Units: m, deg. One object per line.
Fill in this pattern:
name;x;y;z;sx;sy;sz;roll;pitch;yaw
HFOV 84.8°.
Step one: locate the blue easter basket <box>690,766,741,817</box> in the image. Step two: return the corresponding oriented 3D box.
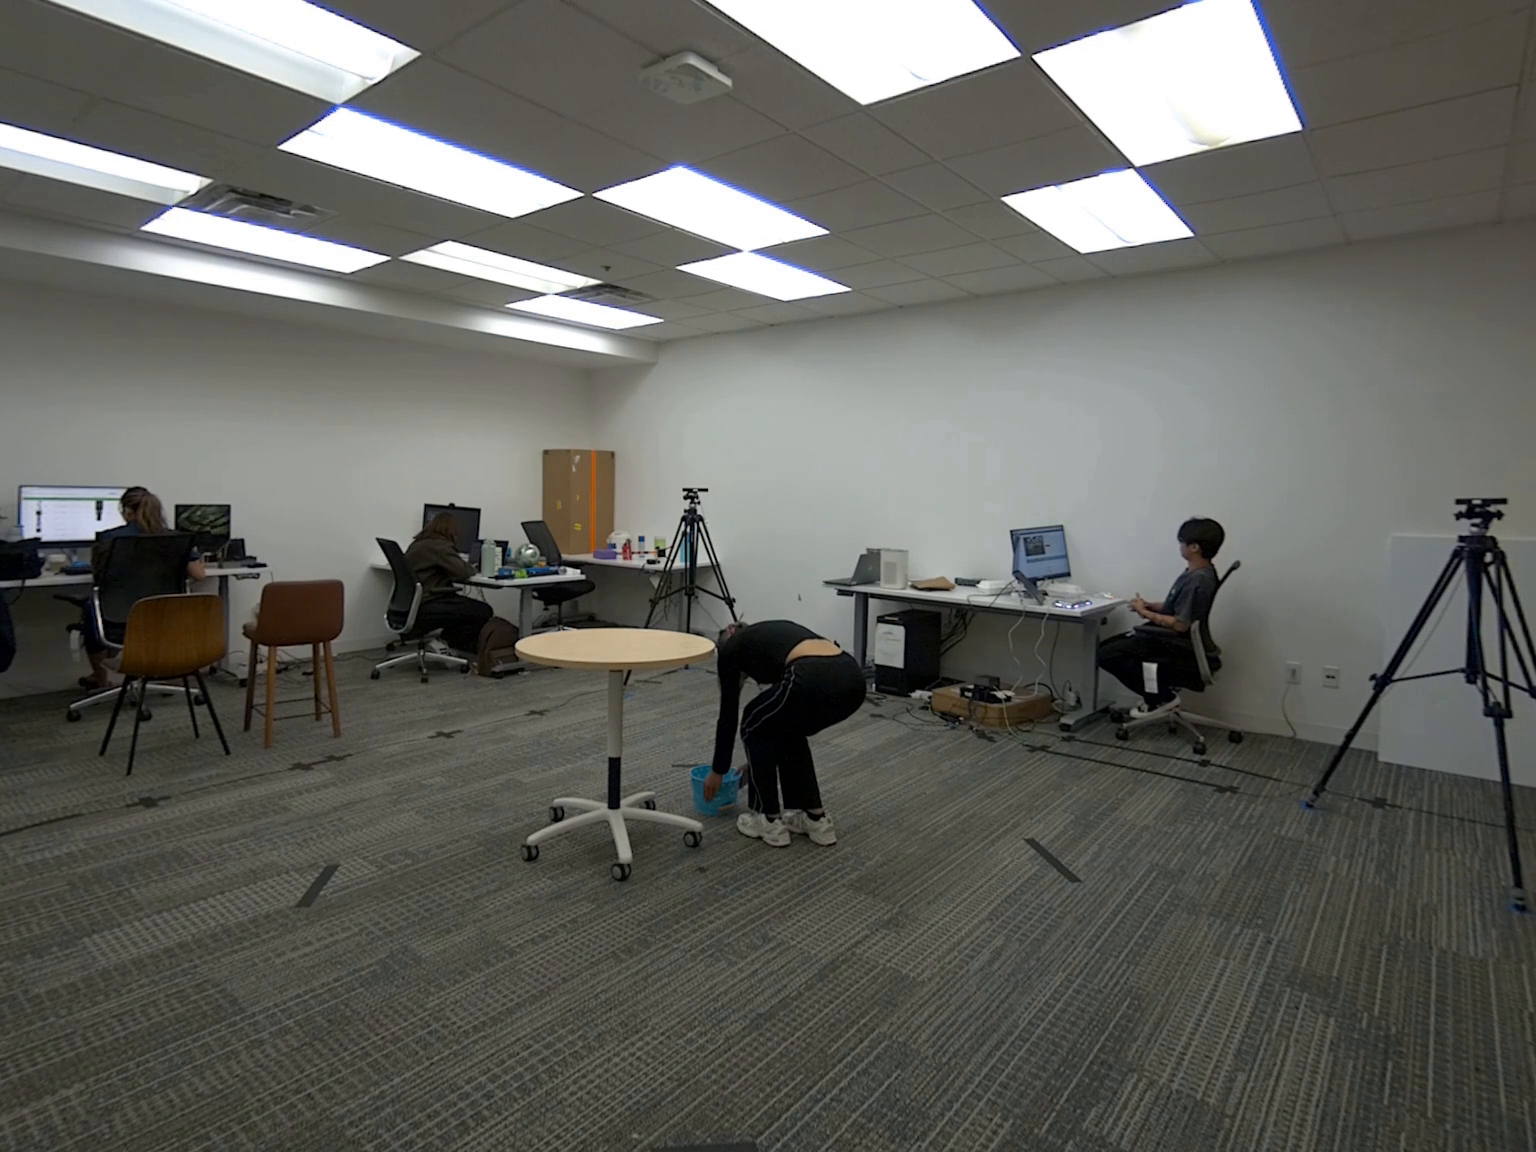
blue easter basket;-0.241;0.930;3.720;0.243;0.155;0.245;0;5;-2
